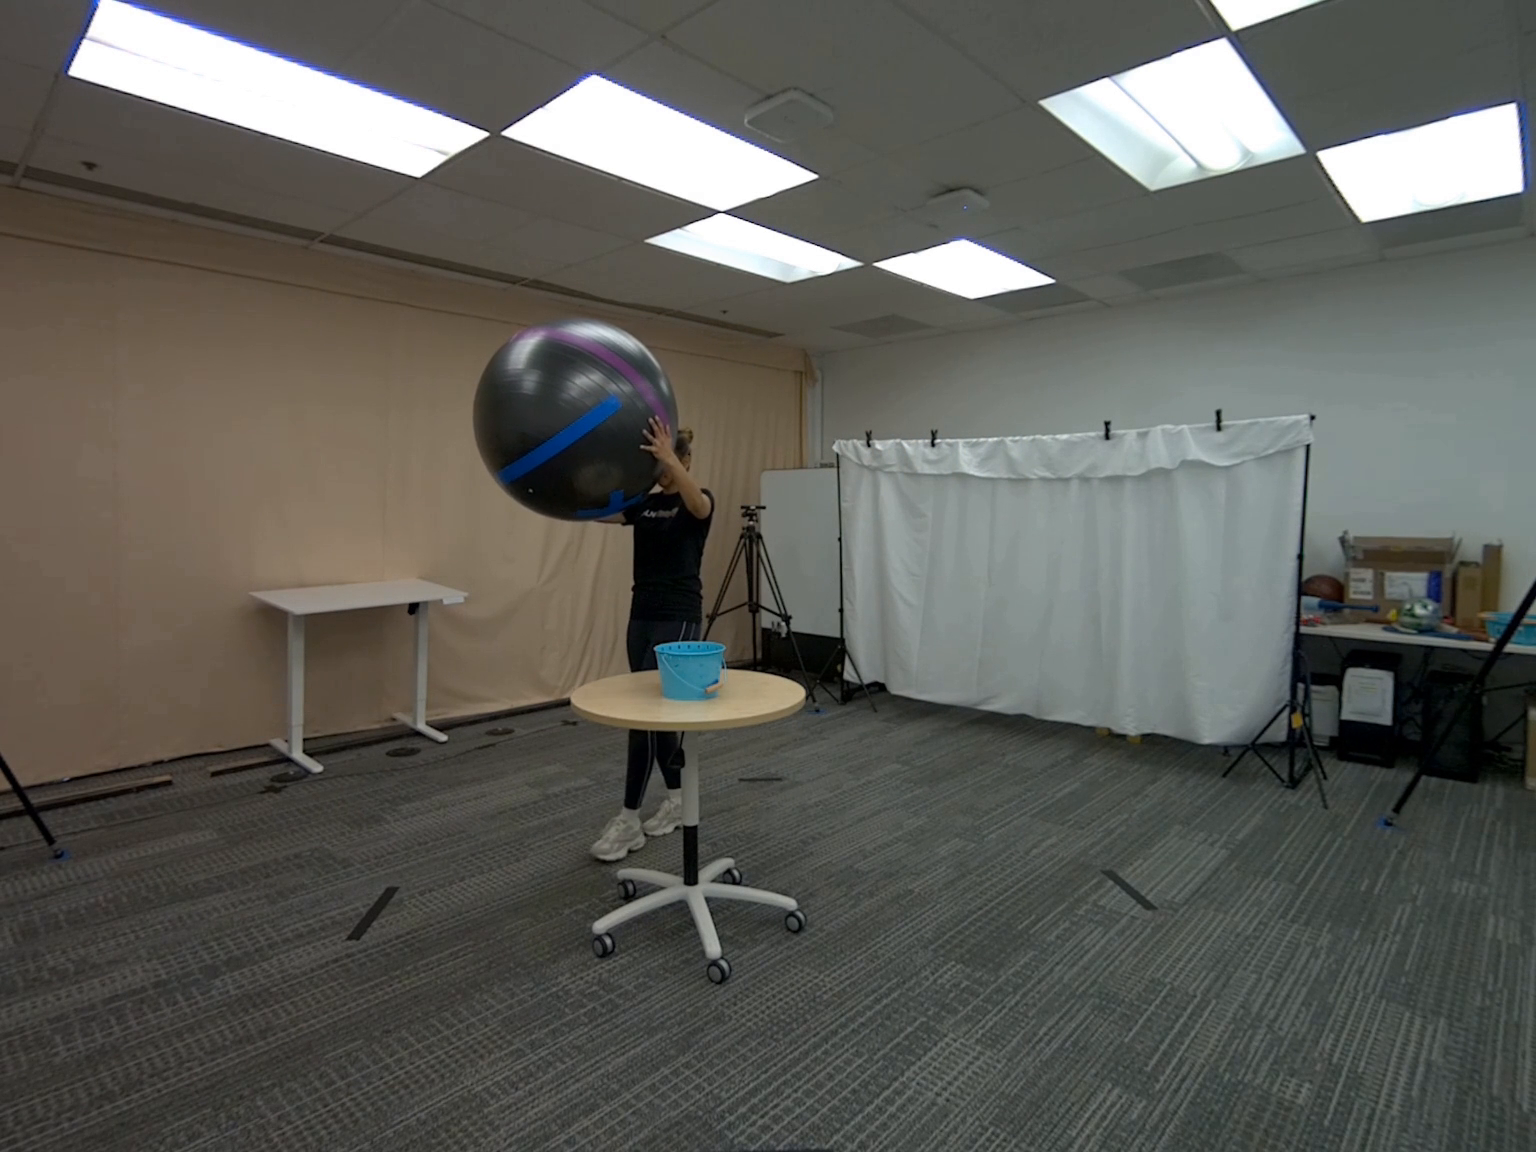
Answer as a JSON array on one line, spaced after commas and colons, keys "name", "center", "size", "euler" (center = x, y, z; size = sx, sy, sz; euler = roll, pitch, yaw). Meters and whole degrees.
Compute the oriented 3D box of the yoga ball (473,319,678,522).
[{"name": "yoga ball", "center": [-0.723, -0.579, 3.163], "size": [0.757, 0.756, 0.761], "euler": [0, 4, -2]}]
